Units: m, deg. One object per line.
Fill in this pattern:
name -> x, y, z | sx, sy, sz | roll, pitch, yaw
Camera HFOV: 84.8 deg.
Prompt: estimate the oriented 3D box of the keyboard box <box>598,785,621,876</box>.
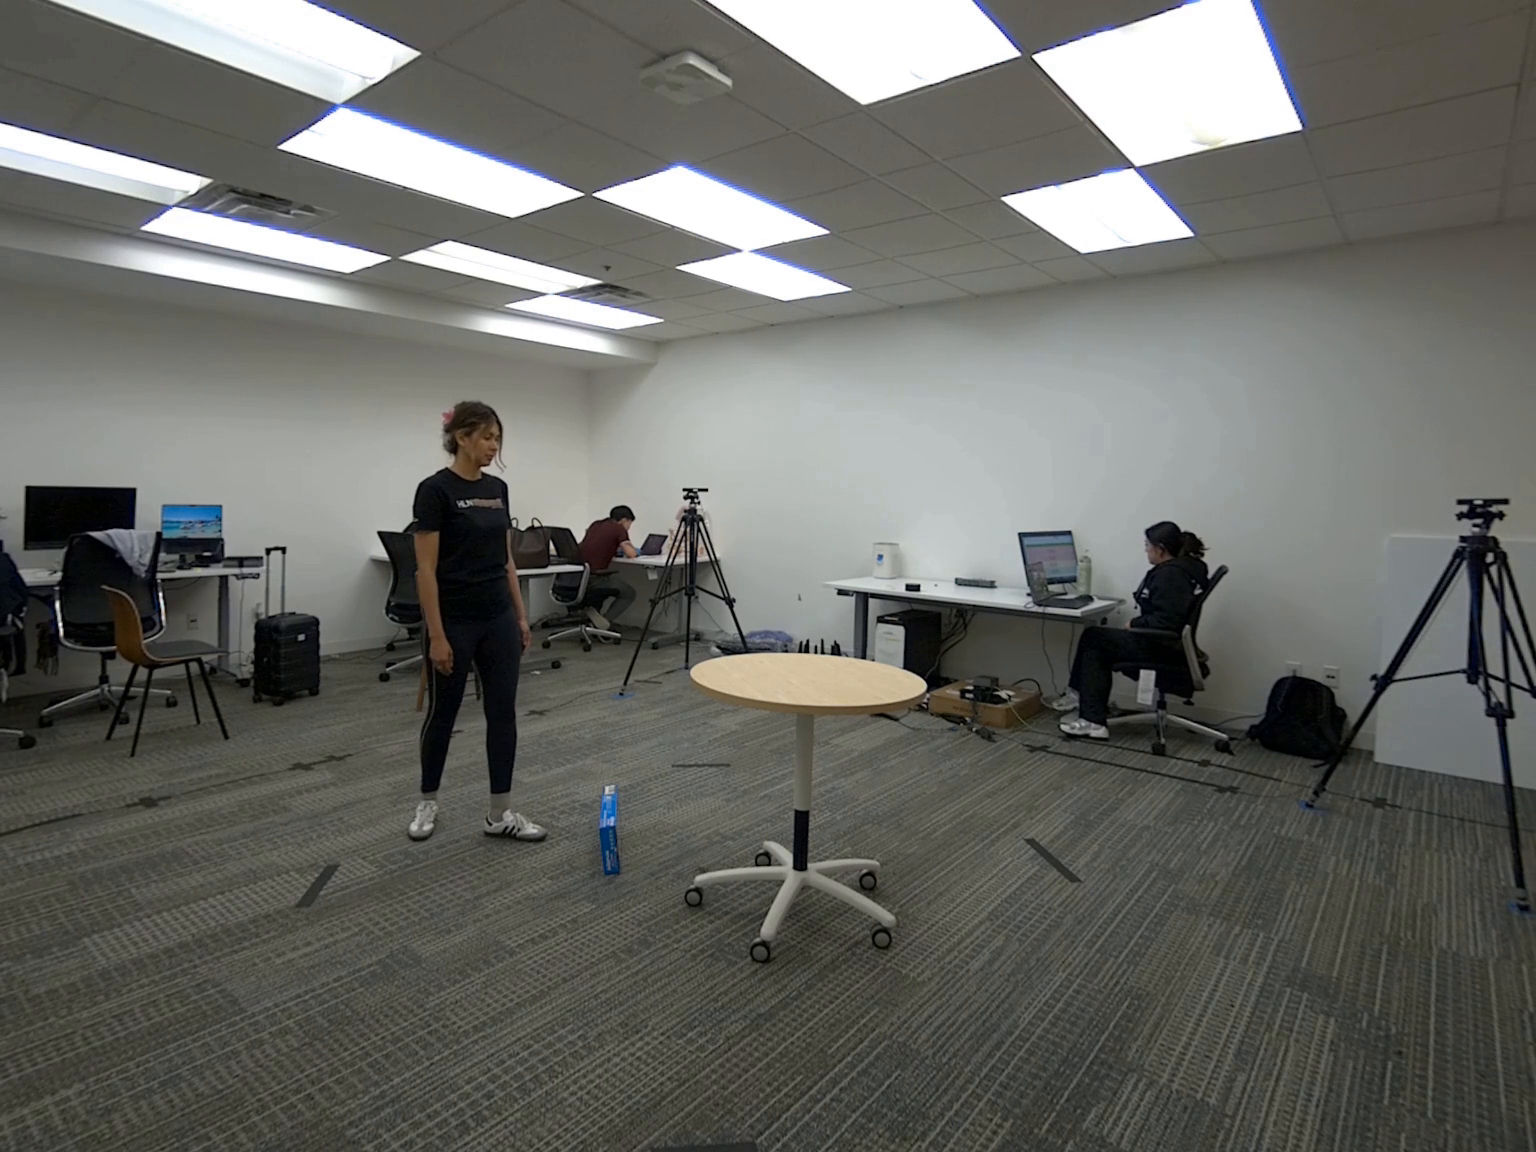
keyboard box -> -0.612, 0.959, 3.266 | 0.058, 0.175, 0.442 | -5, 6, -9
